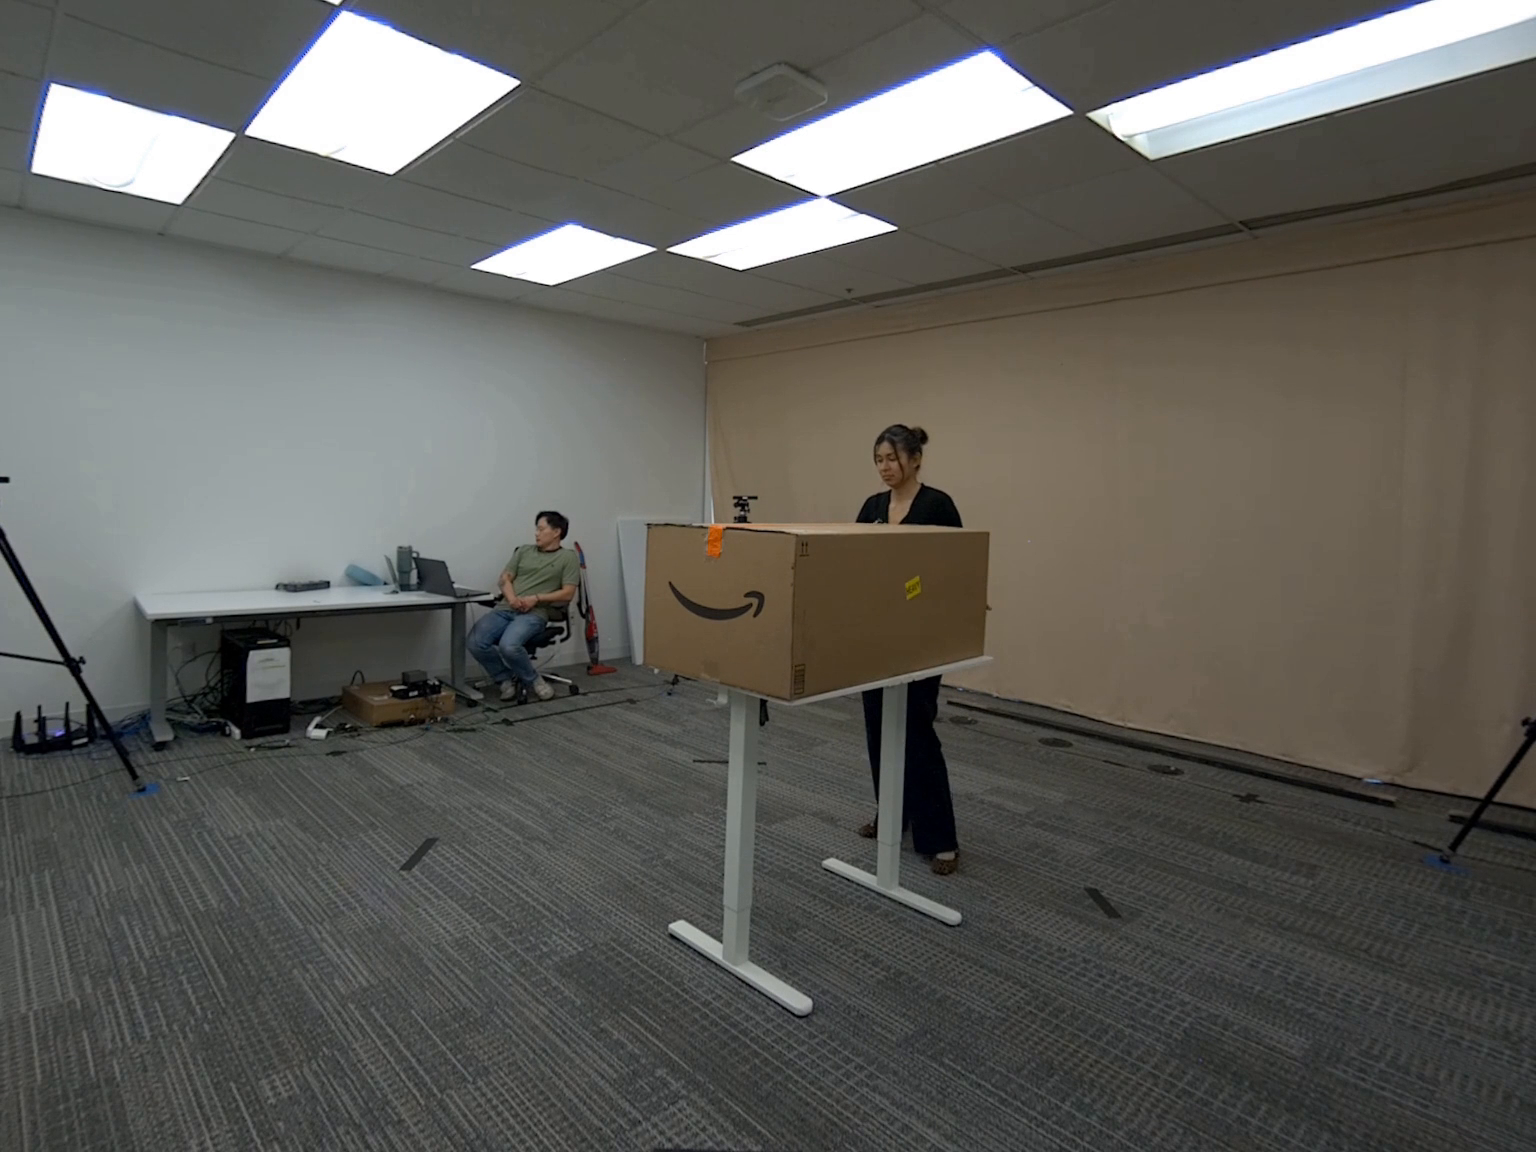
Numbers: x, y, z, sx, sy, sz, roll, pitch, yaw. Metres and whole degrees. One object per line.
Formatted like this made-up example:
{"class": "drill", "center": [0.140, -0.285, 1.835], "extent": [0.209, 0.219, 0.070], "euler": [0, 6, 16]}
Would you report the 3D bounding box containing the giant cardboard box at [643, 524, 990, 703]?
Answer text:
{"class": "giant cardboard box", "center": [0.175, 0.056, 2.665], "extent": [0.592, 0.425, 1.002], "euler": [7, 7, 43]}
